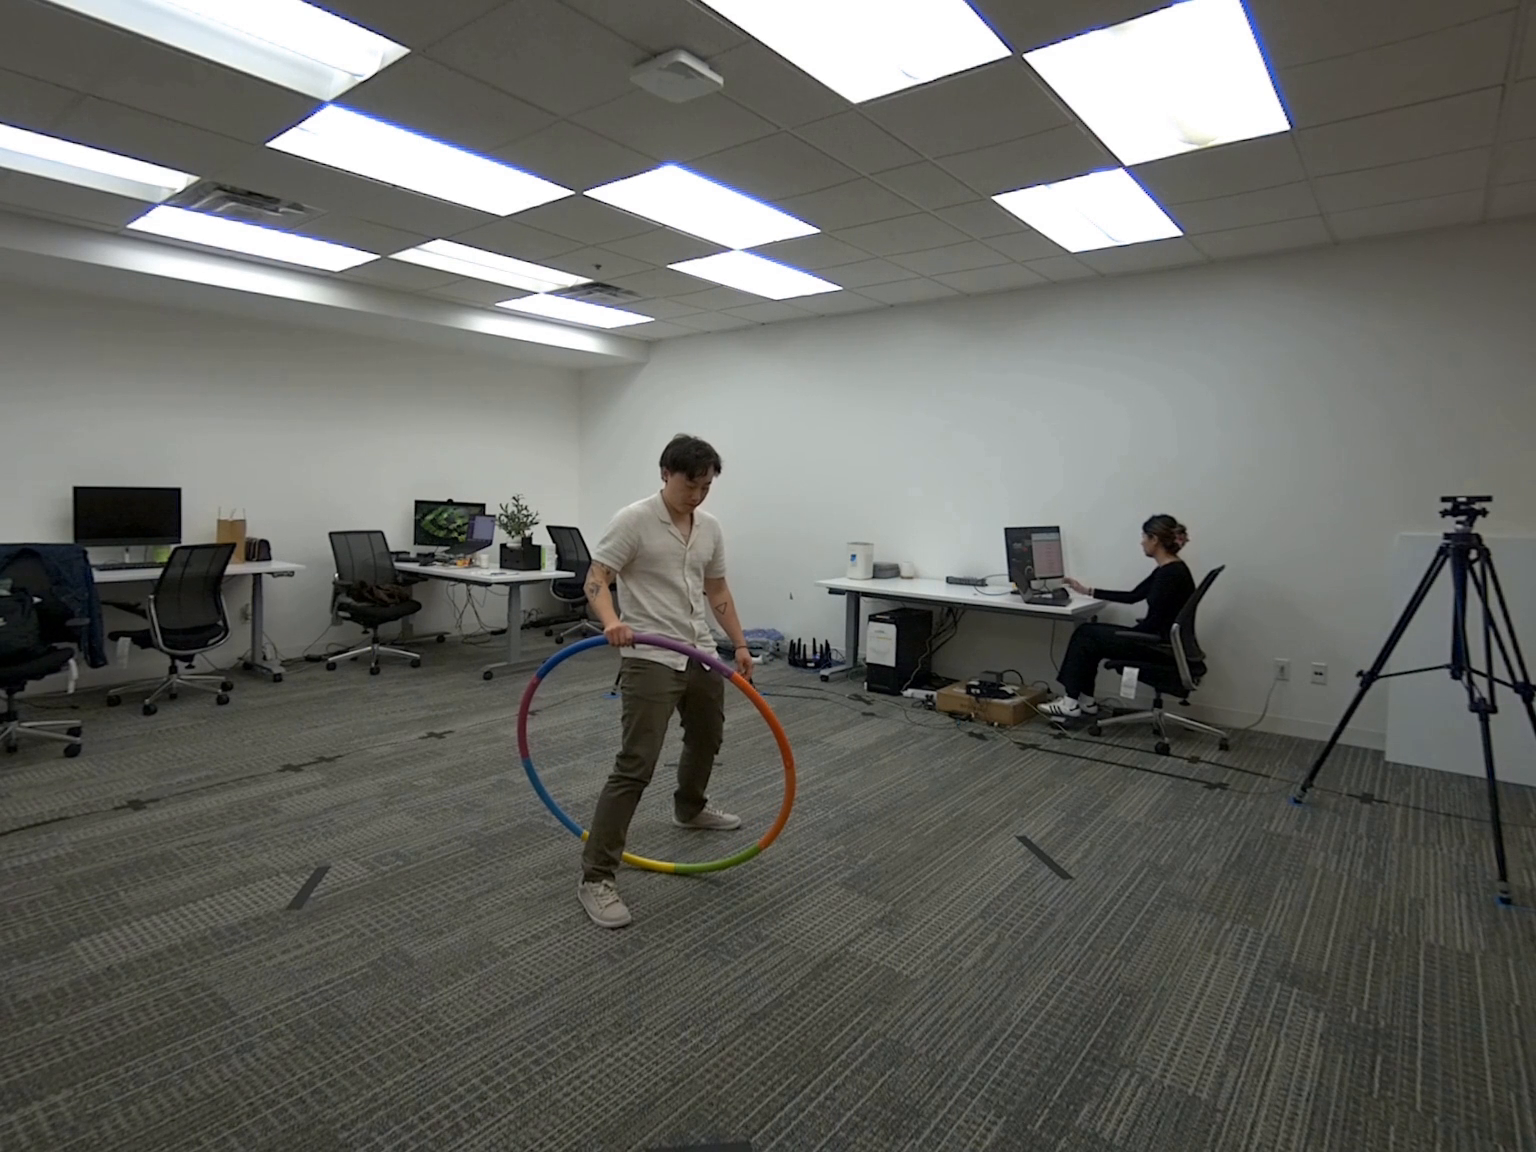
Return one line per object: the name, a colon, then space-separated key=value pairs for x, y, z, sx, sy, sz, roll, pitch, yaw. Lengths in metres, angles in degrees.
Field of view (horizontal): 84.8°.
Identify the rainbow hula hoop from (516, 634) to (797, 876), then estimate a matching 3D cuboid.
rainbow hula hoop: x=-0.408 y=0.623 z=2.905 sx=0.995 sy=0.957 sz=0.036 roll=2 pitch=23 yaw=15
